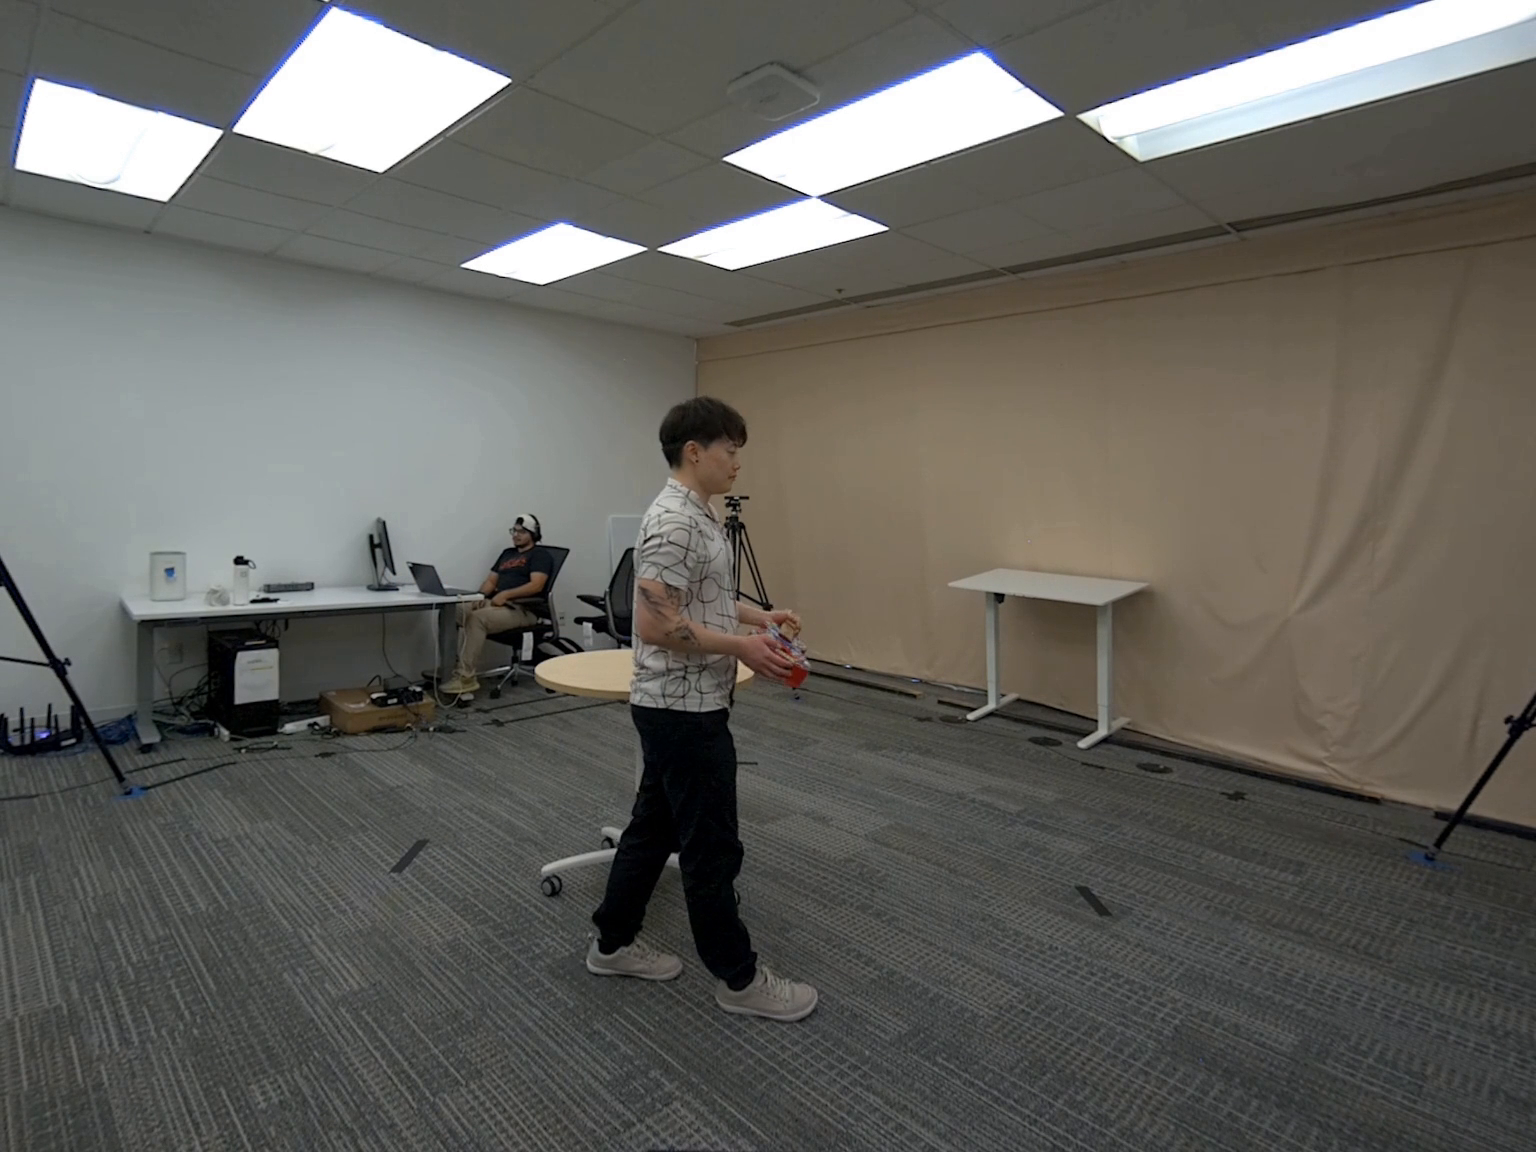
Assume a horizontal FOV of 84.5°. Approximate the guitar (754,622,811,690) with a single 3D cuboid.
[{"bbox_3d":[0.060,0.197,2.453,0.195,0.070,0.493,33,13,10],"label":"guitar"}]
